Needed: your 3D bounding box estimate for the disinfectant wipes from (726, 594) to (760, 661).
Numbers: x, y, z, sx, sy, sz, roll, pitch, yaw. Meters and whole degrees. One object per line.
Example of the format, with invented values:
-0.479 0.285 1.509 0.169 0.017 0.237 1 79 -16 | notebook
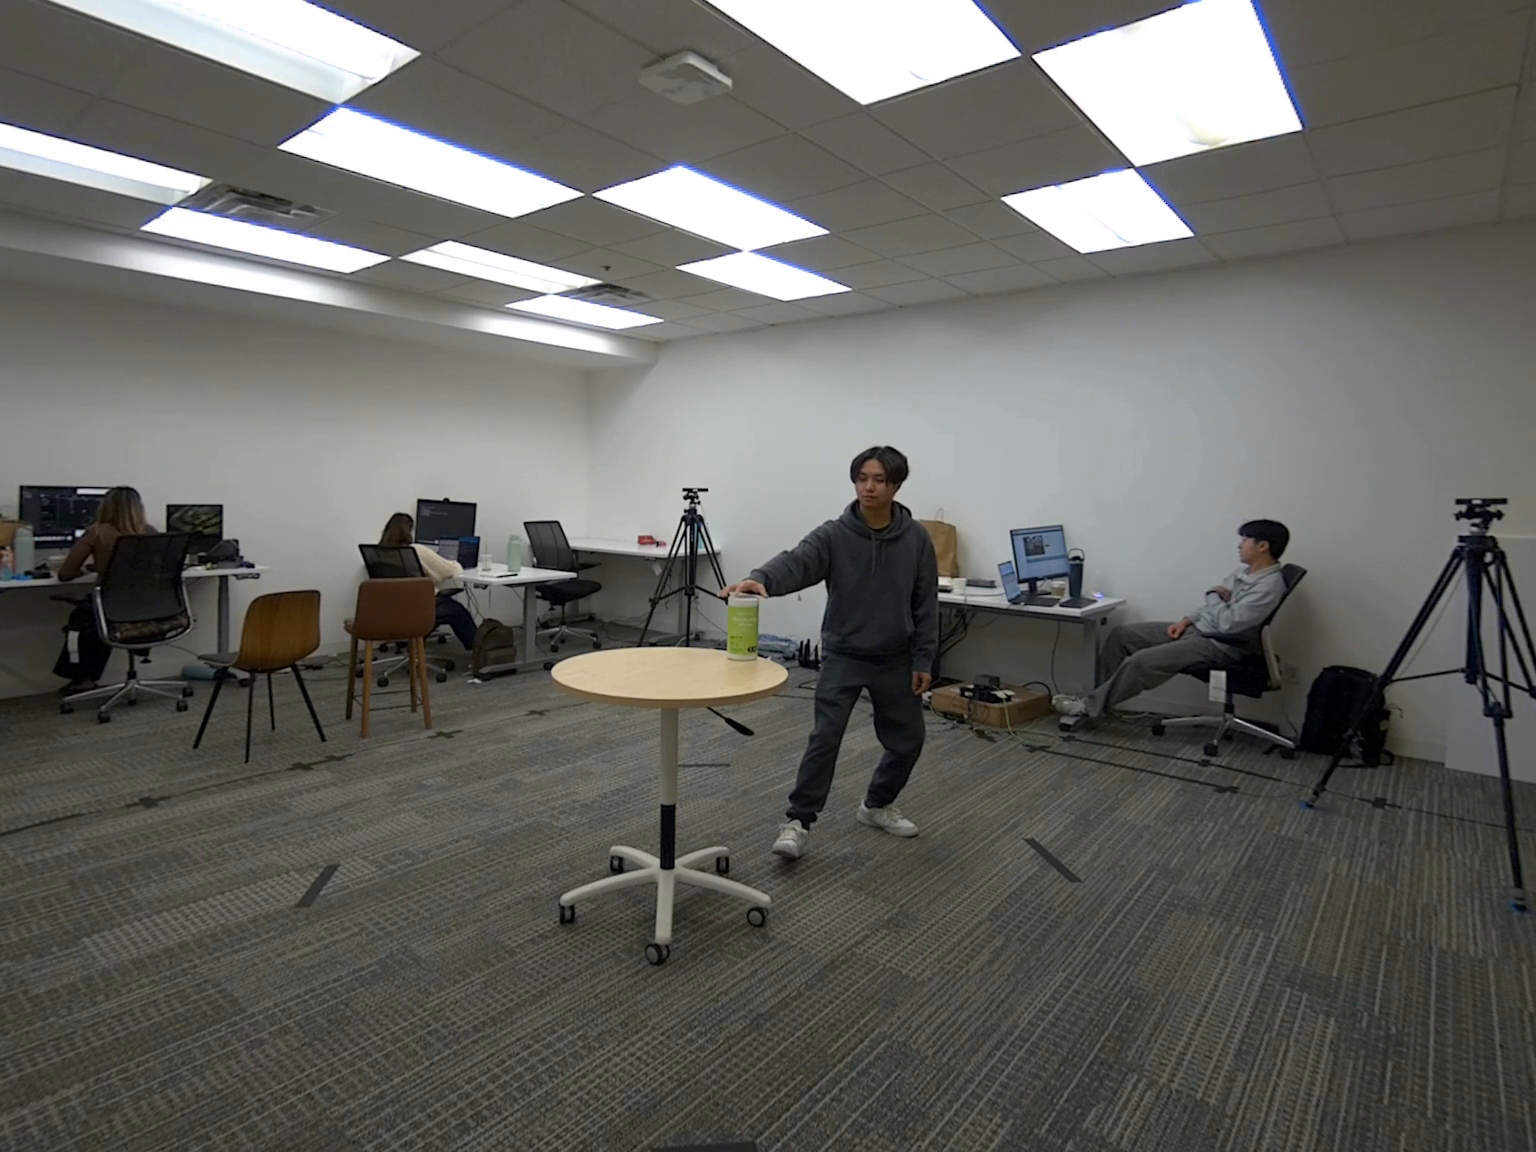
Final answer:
-0.098 0.180 2.982 0.118 0.217 0.118 3 1 -2 | disinfectant wipes
